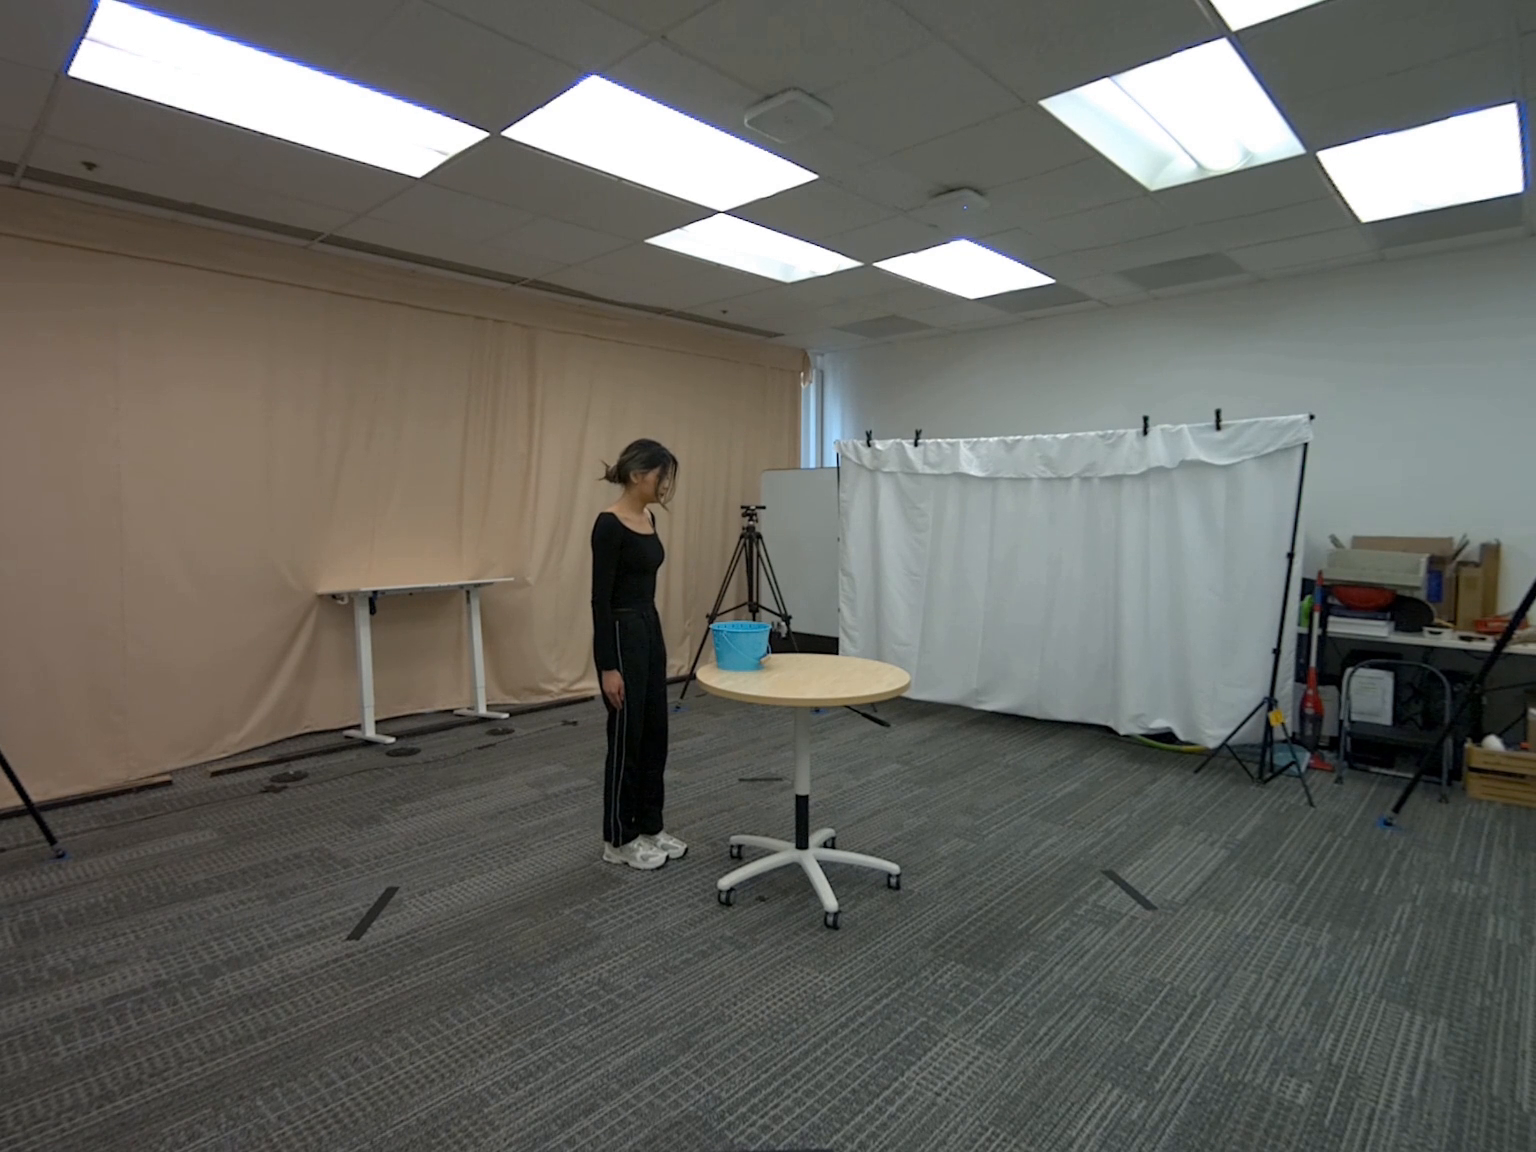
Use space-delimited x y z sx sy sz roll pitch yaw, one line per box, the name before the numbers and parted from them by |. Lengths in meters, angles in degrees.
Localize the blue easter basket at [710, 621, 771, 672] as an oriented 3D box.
blue easter basket | -0.112 0.270 3.159 0.243 0.155 0.244 -2 5 -2
